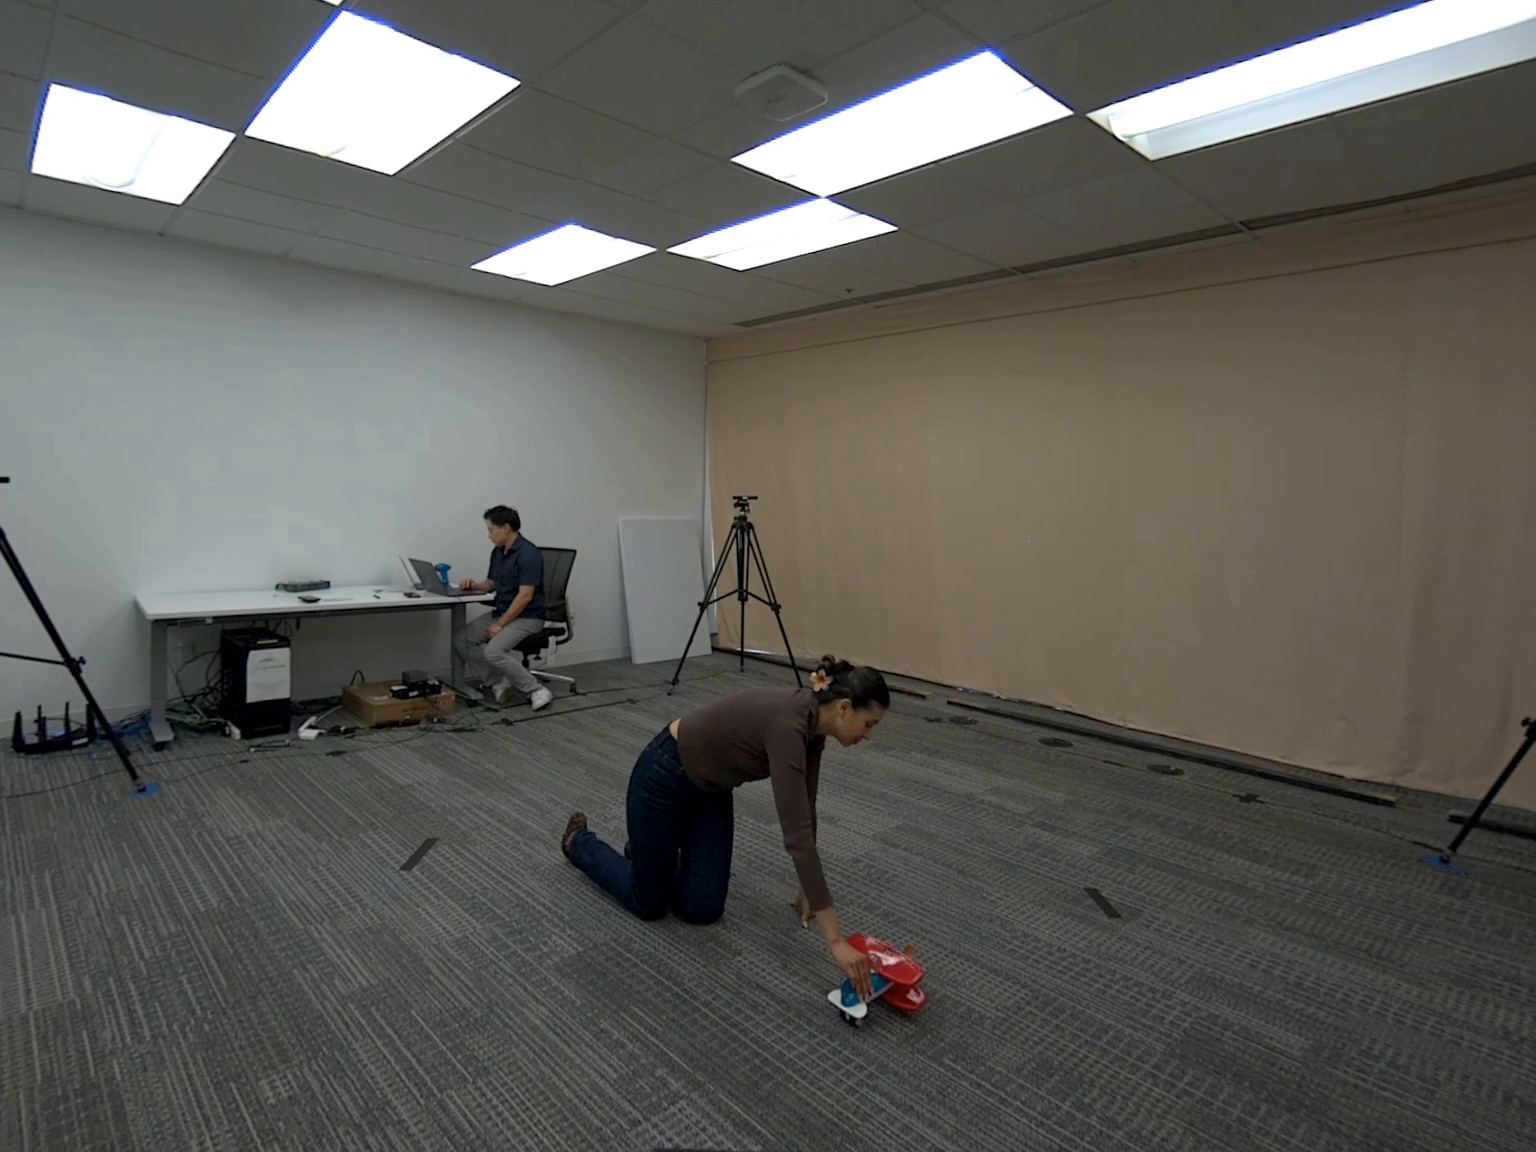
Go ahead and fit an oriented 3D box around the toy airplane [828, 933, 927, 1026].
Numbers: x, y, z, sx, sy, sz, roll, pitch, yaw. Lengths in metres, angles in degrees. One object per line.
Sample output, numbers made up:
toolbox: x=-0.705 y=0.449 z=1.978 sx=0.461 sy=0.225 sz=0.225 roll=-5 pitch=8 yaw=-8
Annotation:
toy airplane: x=0.298 y=1.118 z=2.289 sx=0.255 sy=0.156 sz=0.255 roll=4 pitch=4 yaw=22
